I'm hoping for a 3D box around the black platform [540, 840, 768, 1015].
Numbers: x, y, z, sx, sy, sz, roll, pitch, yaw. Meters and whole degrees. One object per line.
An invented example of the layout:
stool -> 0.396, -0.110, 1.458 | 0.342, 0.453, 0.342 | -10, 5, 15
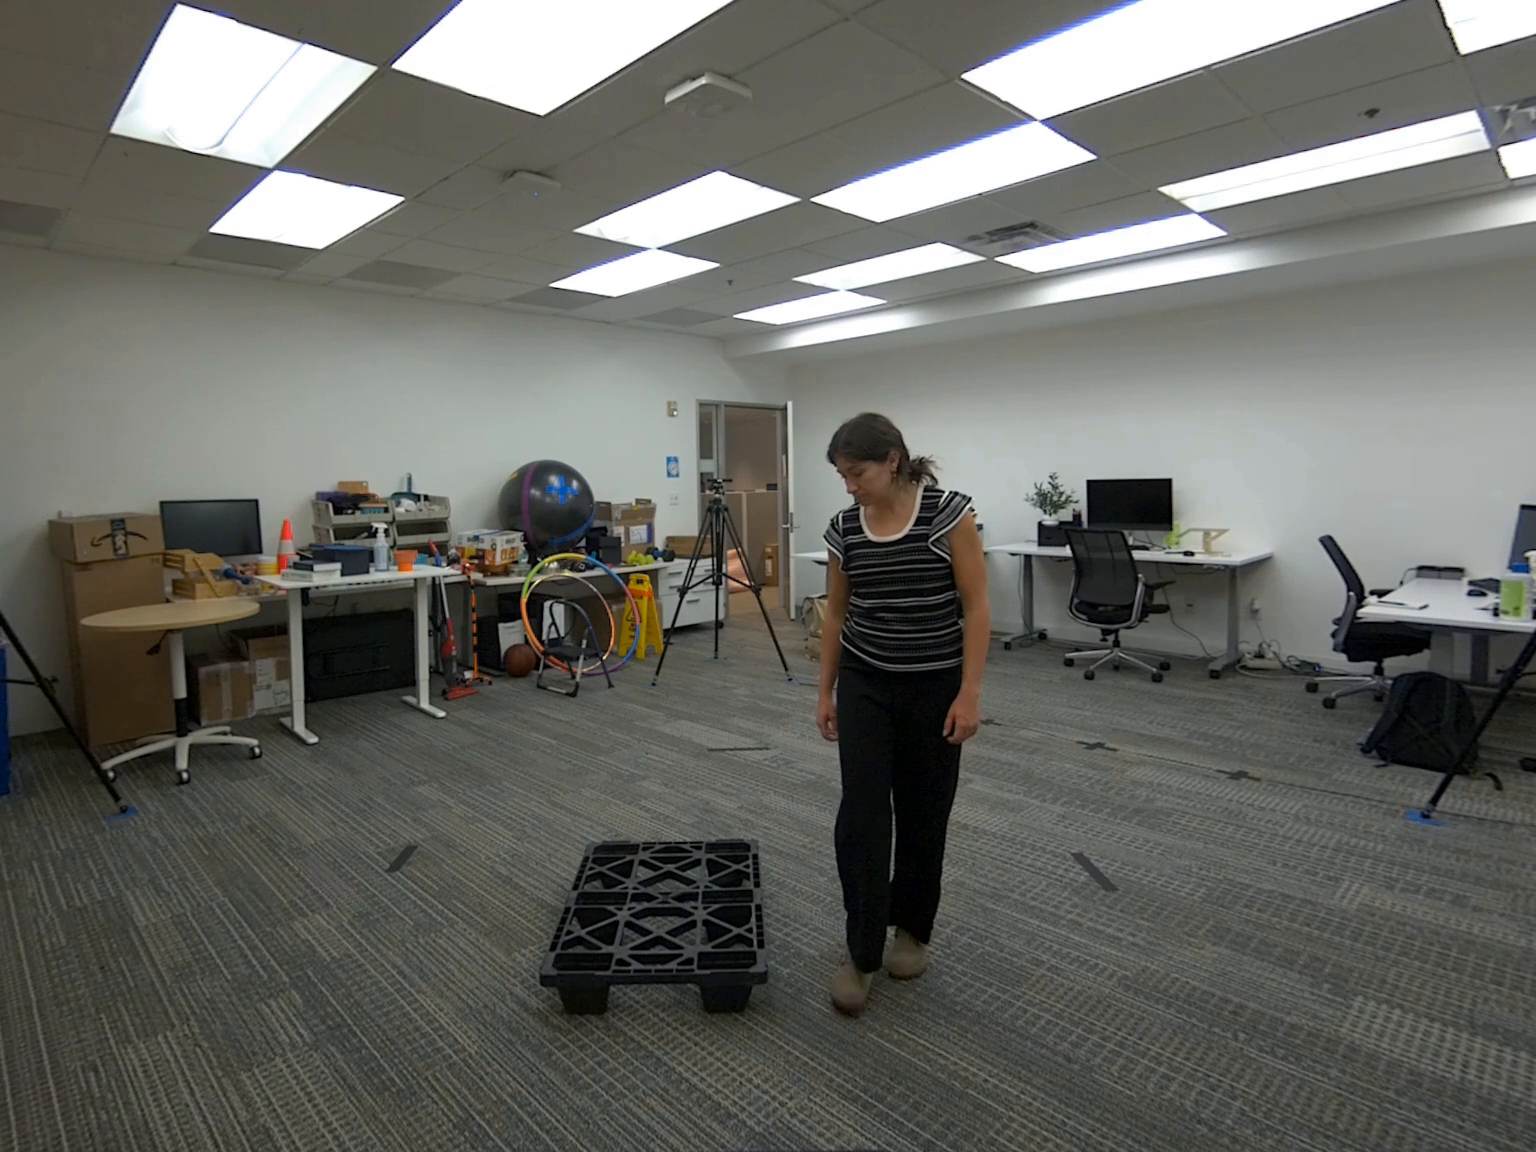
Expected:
black platform -> -0.311, 1.041, 2.602 | 0.605, 0.142, 0.809 | -2, 6, -1
